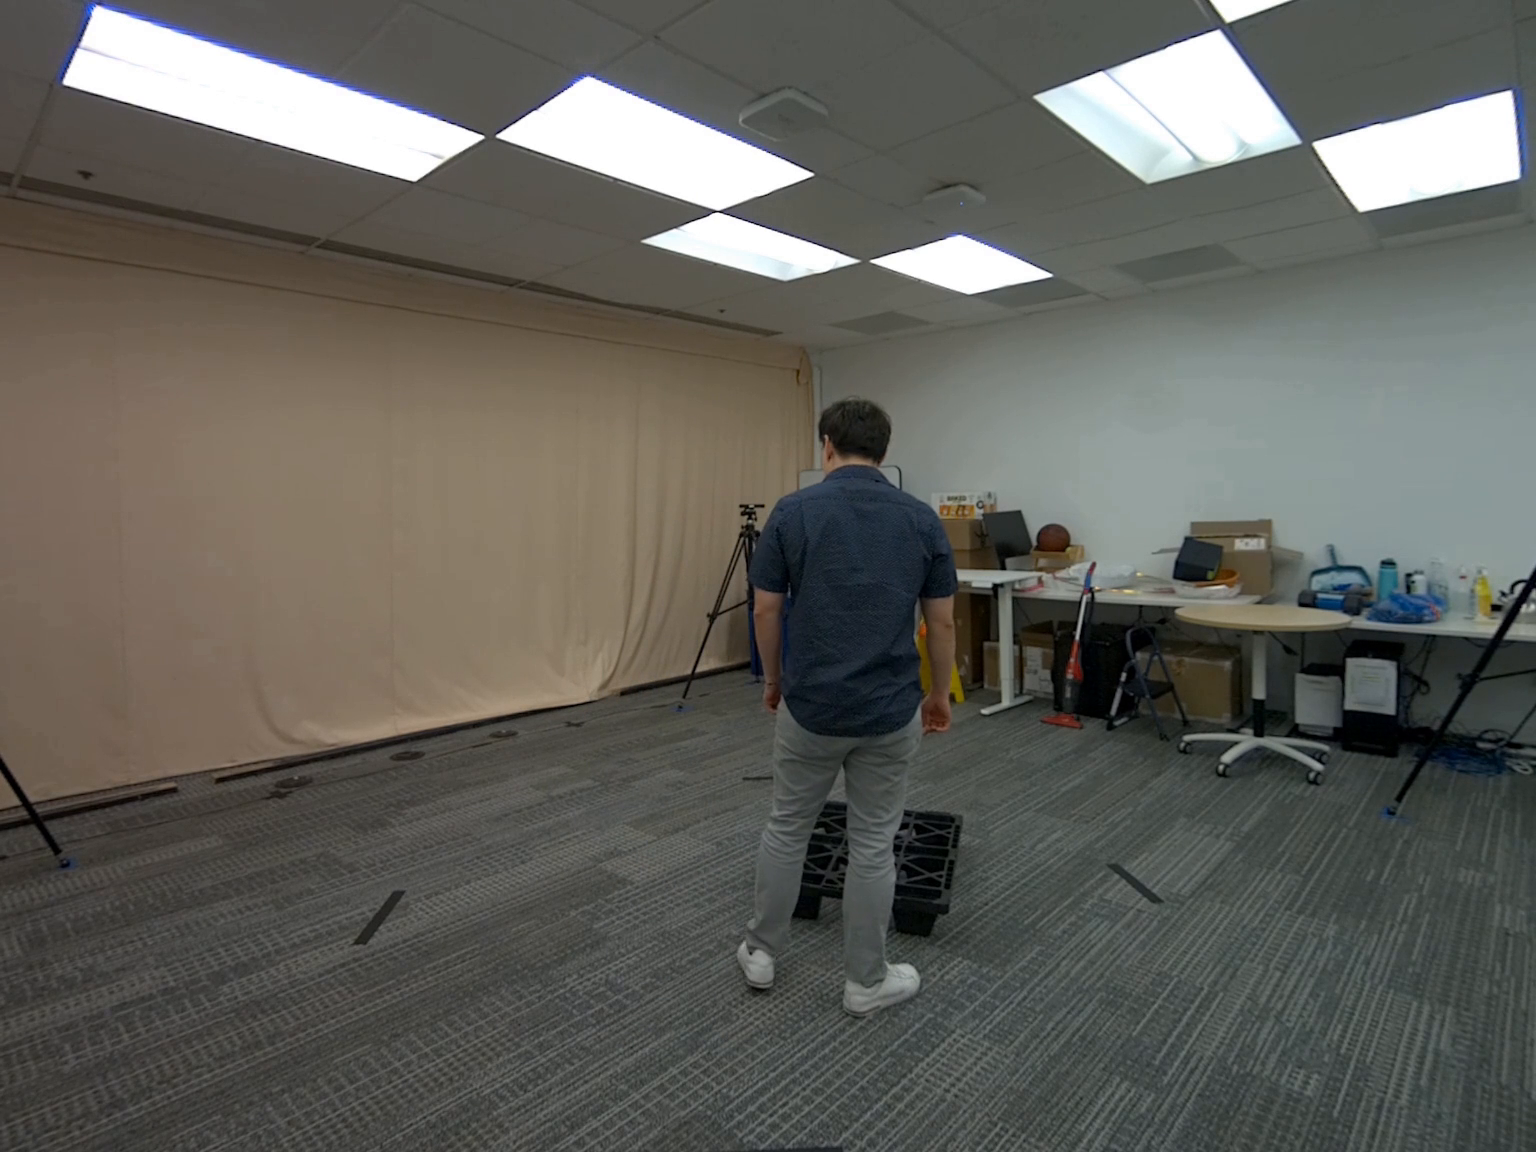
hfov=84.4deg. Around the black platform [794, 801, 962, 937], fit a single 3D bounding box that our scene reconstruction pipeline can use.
[{"bbox_3d":[0.395,1.056,3.109,0.617,0.143,0.792,1,5,17],"label":"black platform"}]
